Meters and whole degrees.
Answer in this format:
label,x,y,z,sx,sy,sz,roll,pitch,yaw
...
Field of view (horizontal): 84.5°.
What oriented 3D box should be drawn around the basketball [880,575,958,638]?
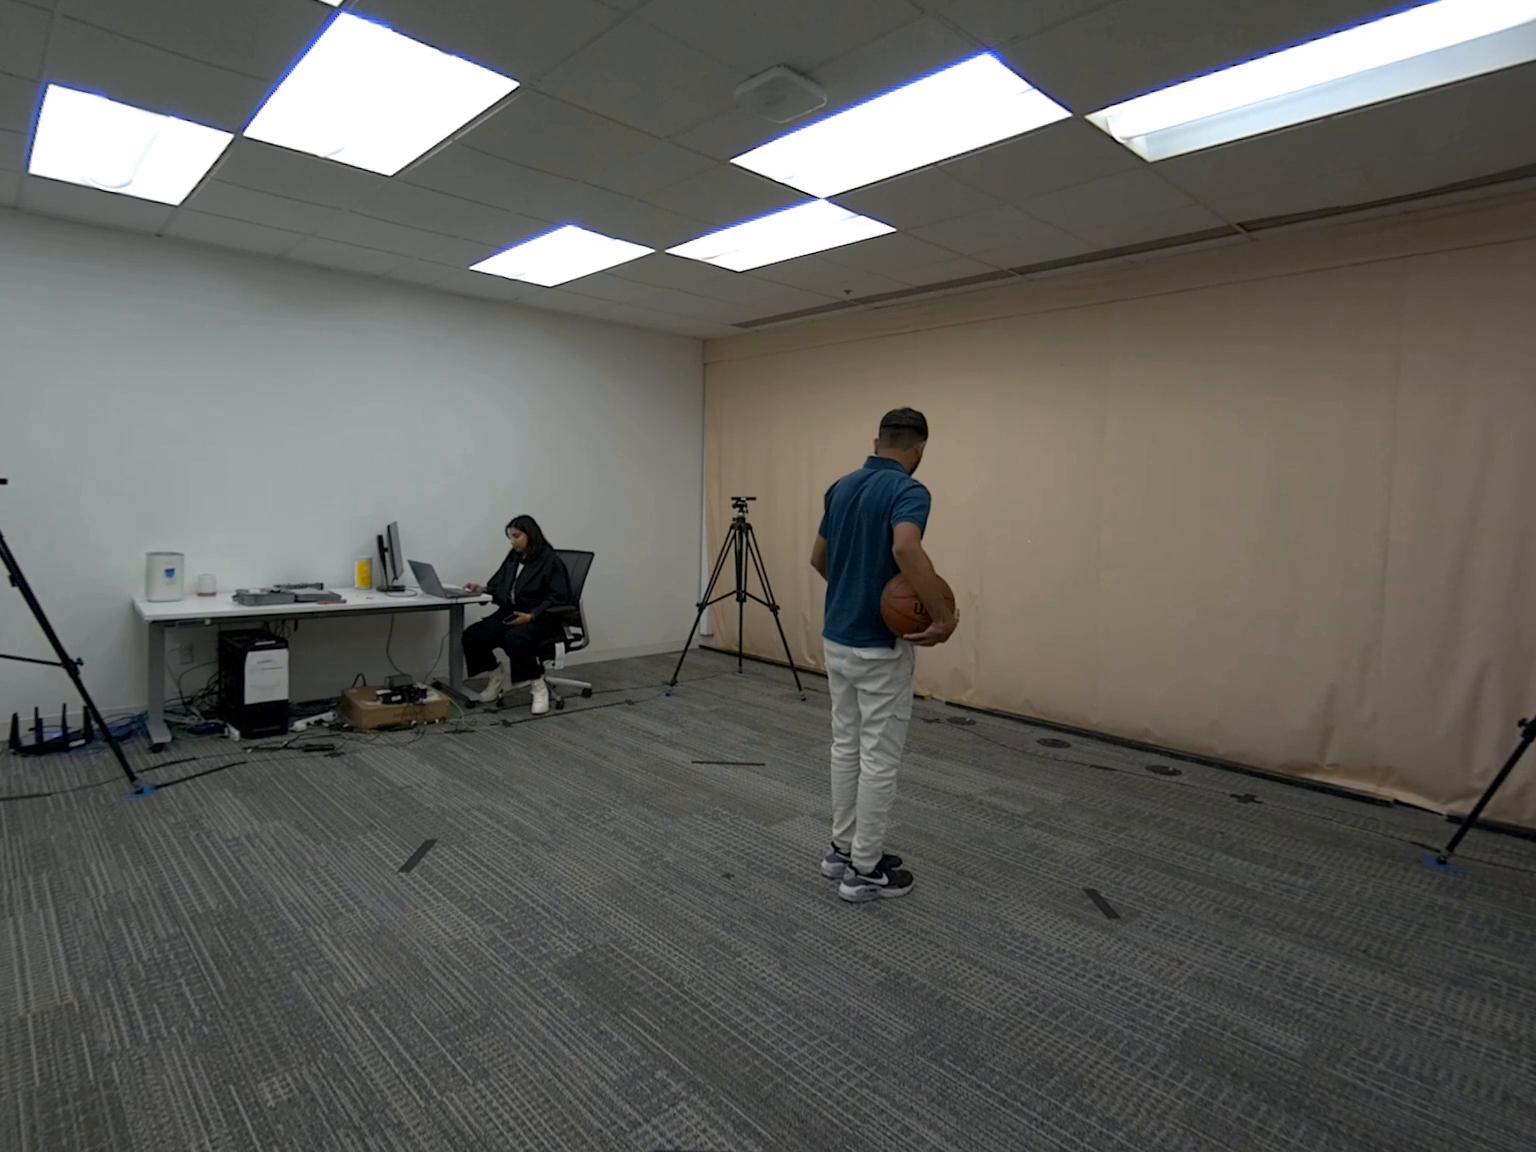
label,x,y,z,sx,sy,sz,roll,pitch,yaw
basketball,0.475,0.100,2.727,0.236,0.235,0.237,1,4,-1
